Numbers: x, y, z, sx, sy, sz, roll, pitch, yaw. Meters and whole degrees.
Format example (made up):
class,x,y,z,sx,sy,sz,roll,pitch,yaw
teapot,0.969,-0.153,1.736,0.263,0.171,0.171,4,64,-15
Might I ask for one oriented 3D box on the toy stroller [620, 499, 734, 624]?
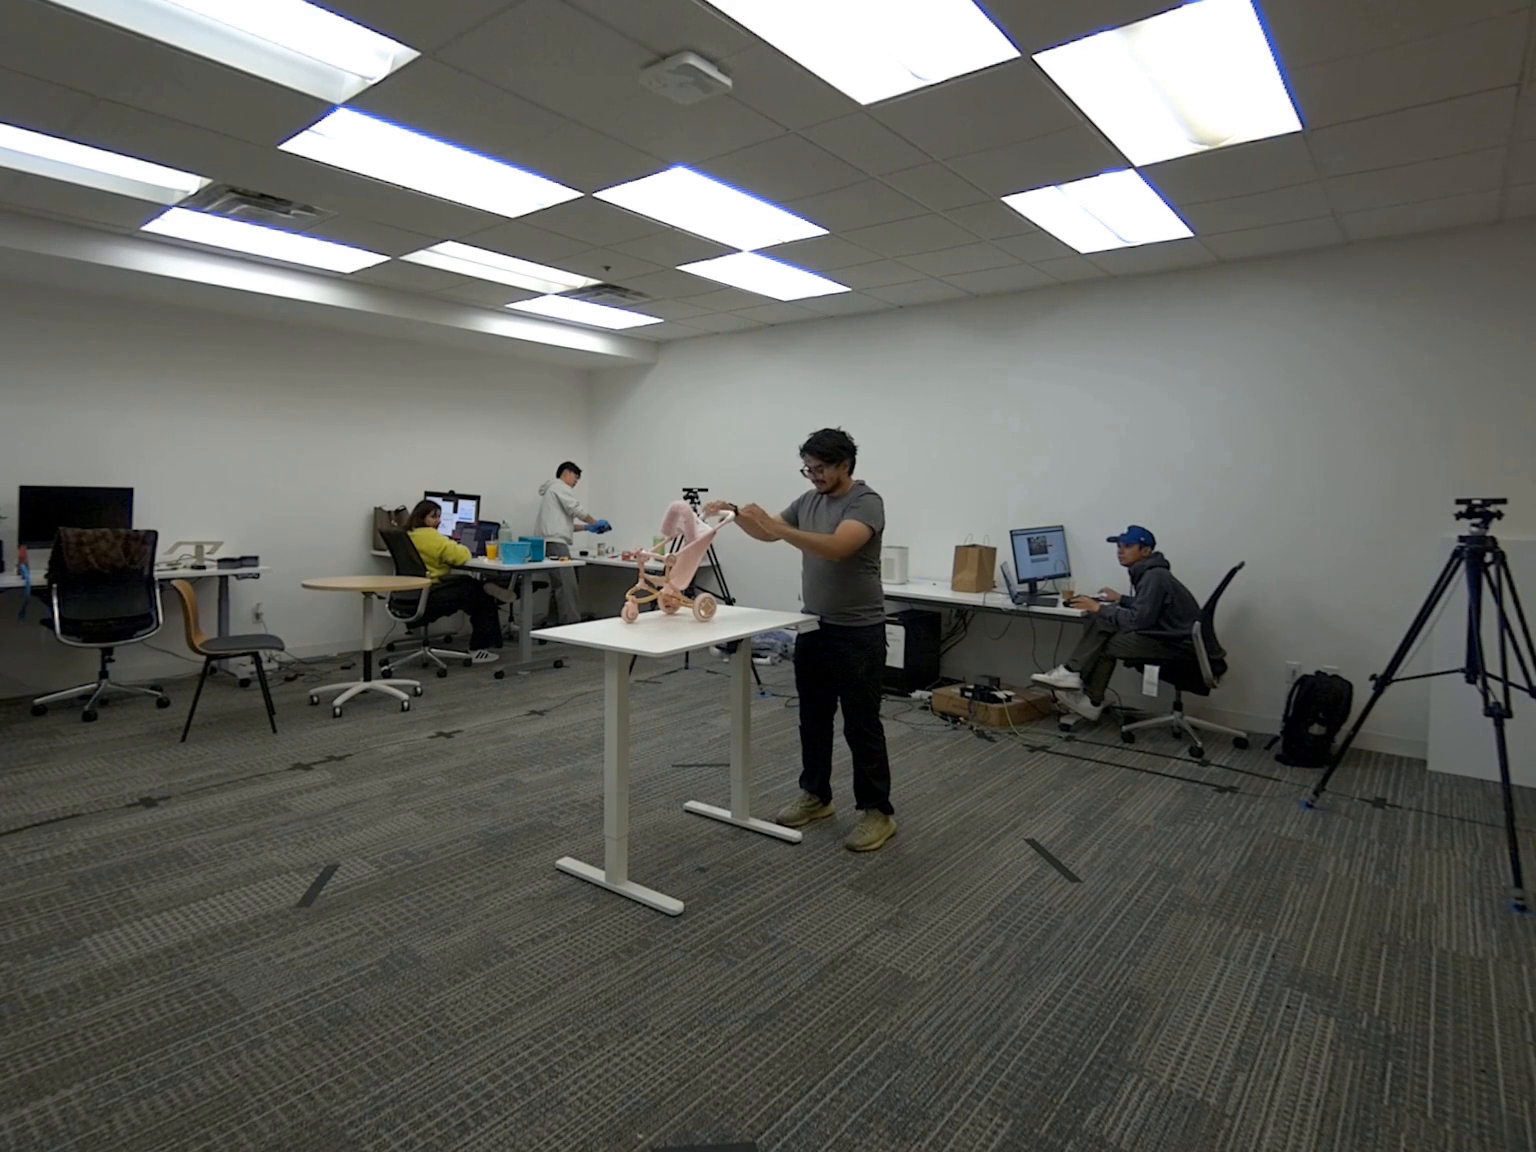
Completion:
class,x,y,z,sx,sy,sz,roll,pitch,yaw
toy stroller,-0.379,-0.057,3.301,0.330,0.537,0.290,16,-5,-32
